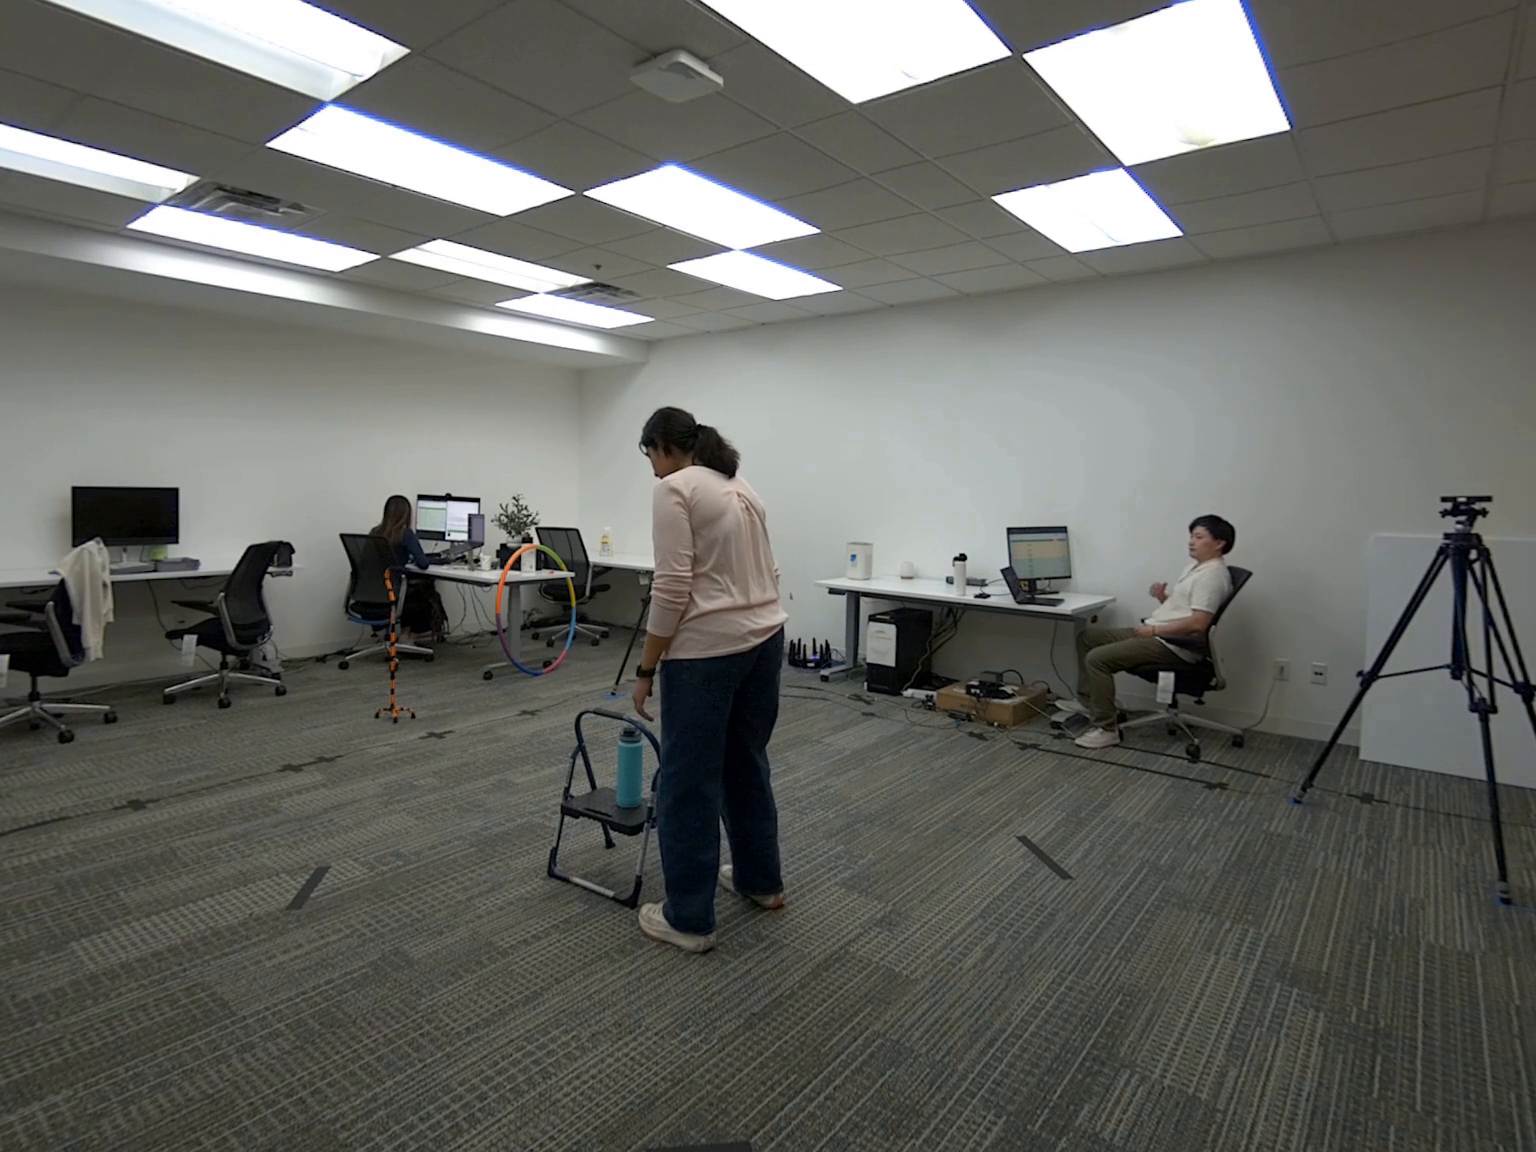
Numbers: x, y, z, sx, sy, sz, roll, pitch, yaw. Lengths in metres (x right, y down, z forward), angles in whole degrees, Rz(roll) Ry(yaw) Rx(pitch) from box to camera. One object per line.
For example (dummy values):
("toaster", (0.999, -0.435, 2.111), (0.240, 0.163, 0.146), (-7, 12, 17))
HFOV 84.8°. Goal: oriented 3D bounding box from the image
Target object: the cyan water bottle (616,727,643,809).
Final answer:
("cyan water bottle", (-0.500, 0.672, 3.025), (0.092, 0.283, 0.092), (3, 0, -2))
